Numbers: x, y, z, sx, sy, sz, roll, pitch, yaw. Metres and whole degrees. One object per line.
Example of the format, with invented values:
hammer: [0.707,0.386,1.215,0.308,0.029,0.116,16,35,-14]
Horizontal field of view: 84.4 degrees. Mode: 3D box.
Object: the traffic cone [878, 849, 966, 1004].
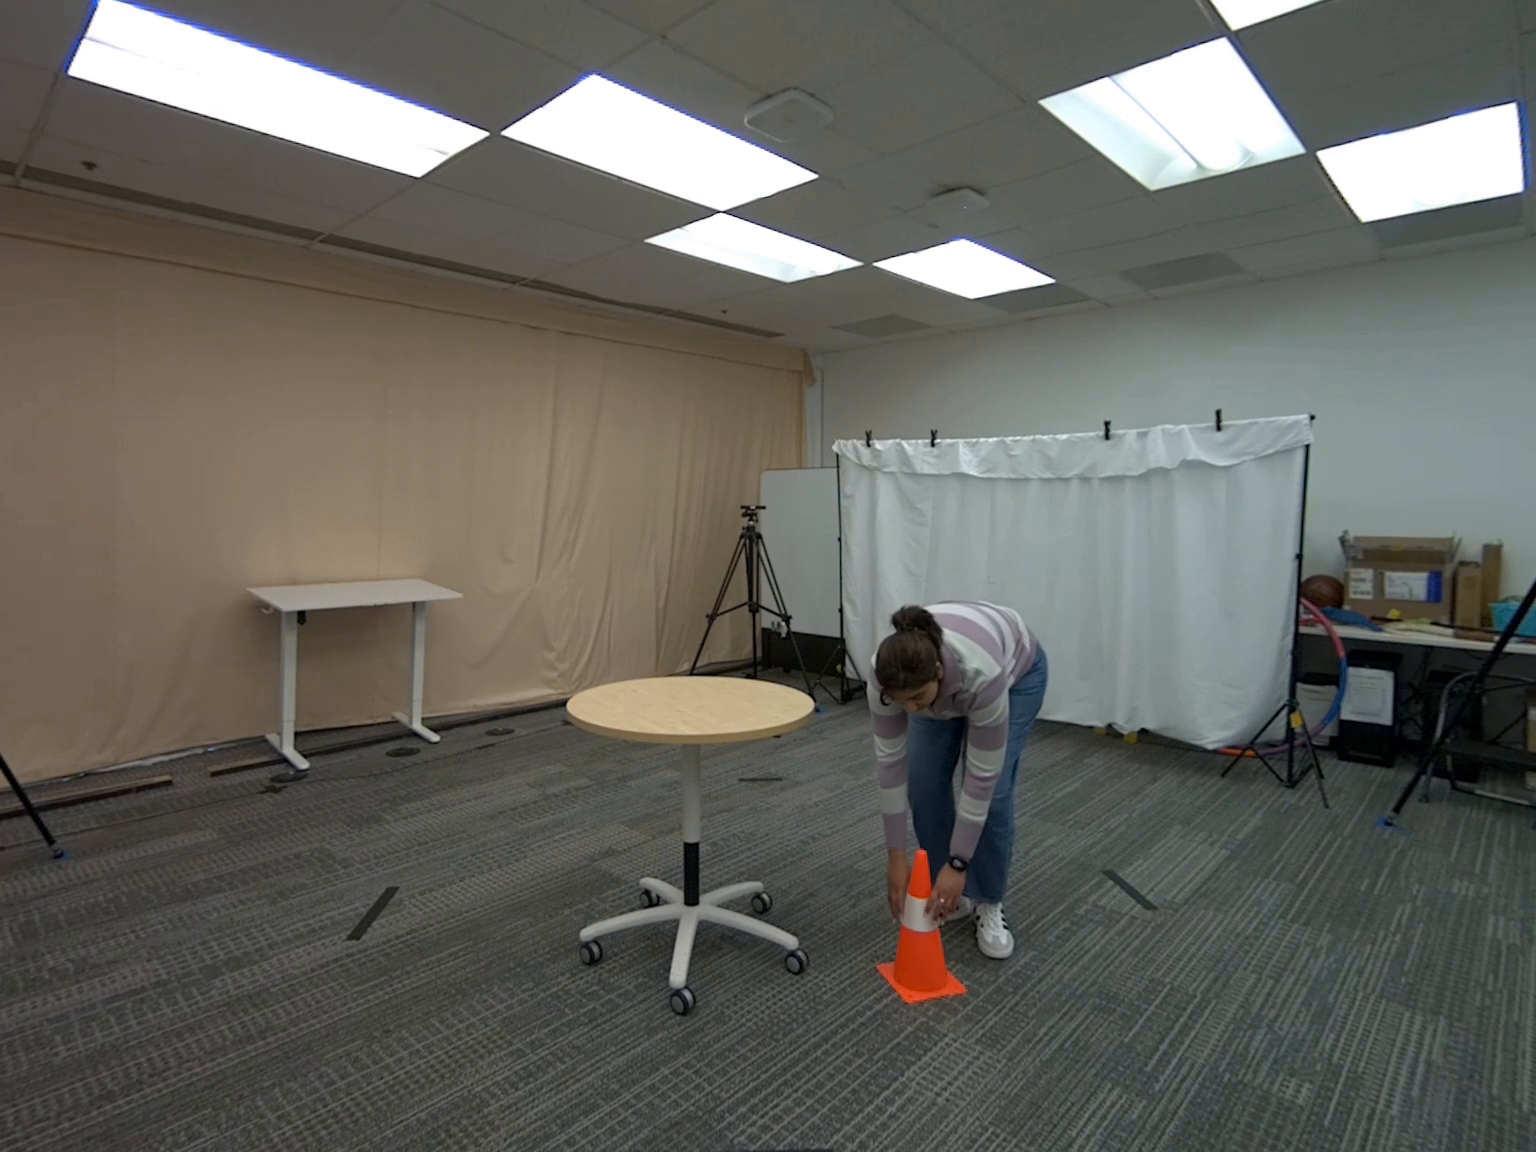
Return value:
traffic cone: [0.454,1.001,2.460,0.199,0.382,0.210,-1,5,-20]
